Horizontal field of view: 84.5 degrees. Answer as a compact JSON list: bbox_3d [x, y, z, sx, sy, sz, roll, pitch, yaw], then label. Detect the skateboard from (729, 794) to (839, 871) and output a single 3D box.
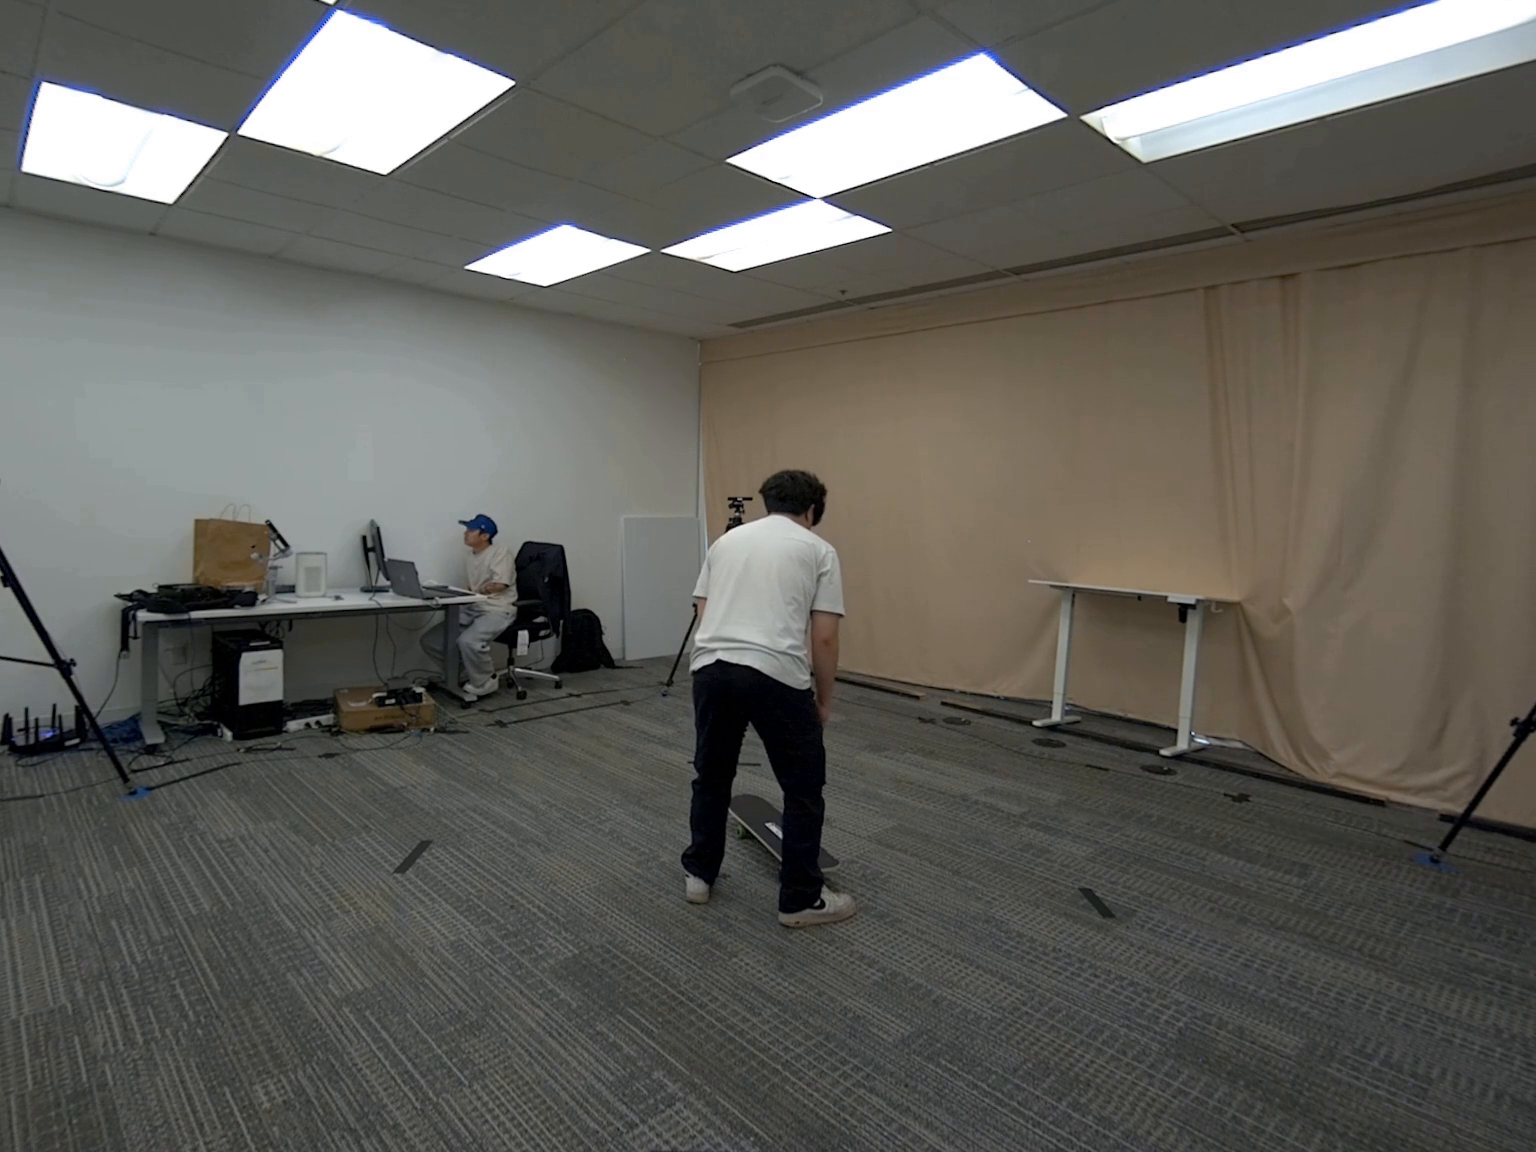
[{"bbox_3d":[0.034,1.040,3.307,0.190,0.110,0.801,0,5,-23],"label":"skateboard"}]
